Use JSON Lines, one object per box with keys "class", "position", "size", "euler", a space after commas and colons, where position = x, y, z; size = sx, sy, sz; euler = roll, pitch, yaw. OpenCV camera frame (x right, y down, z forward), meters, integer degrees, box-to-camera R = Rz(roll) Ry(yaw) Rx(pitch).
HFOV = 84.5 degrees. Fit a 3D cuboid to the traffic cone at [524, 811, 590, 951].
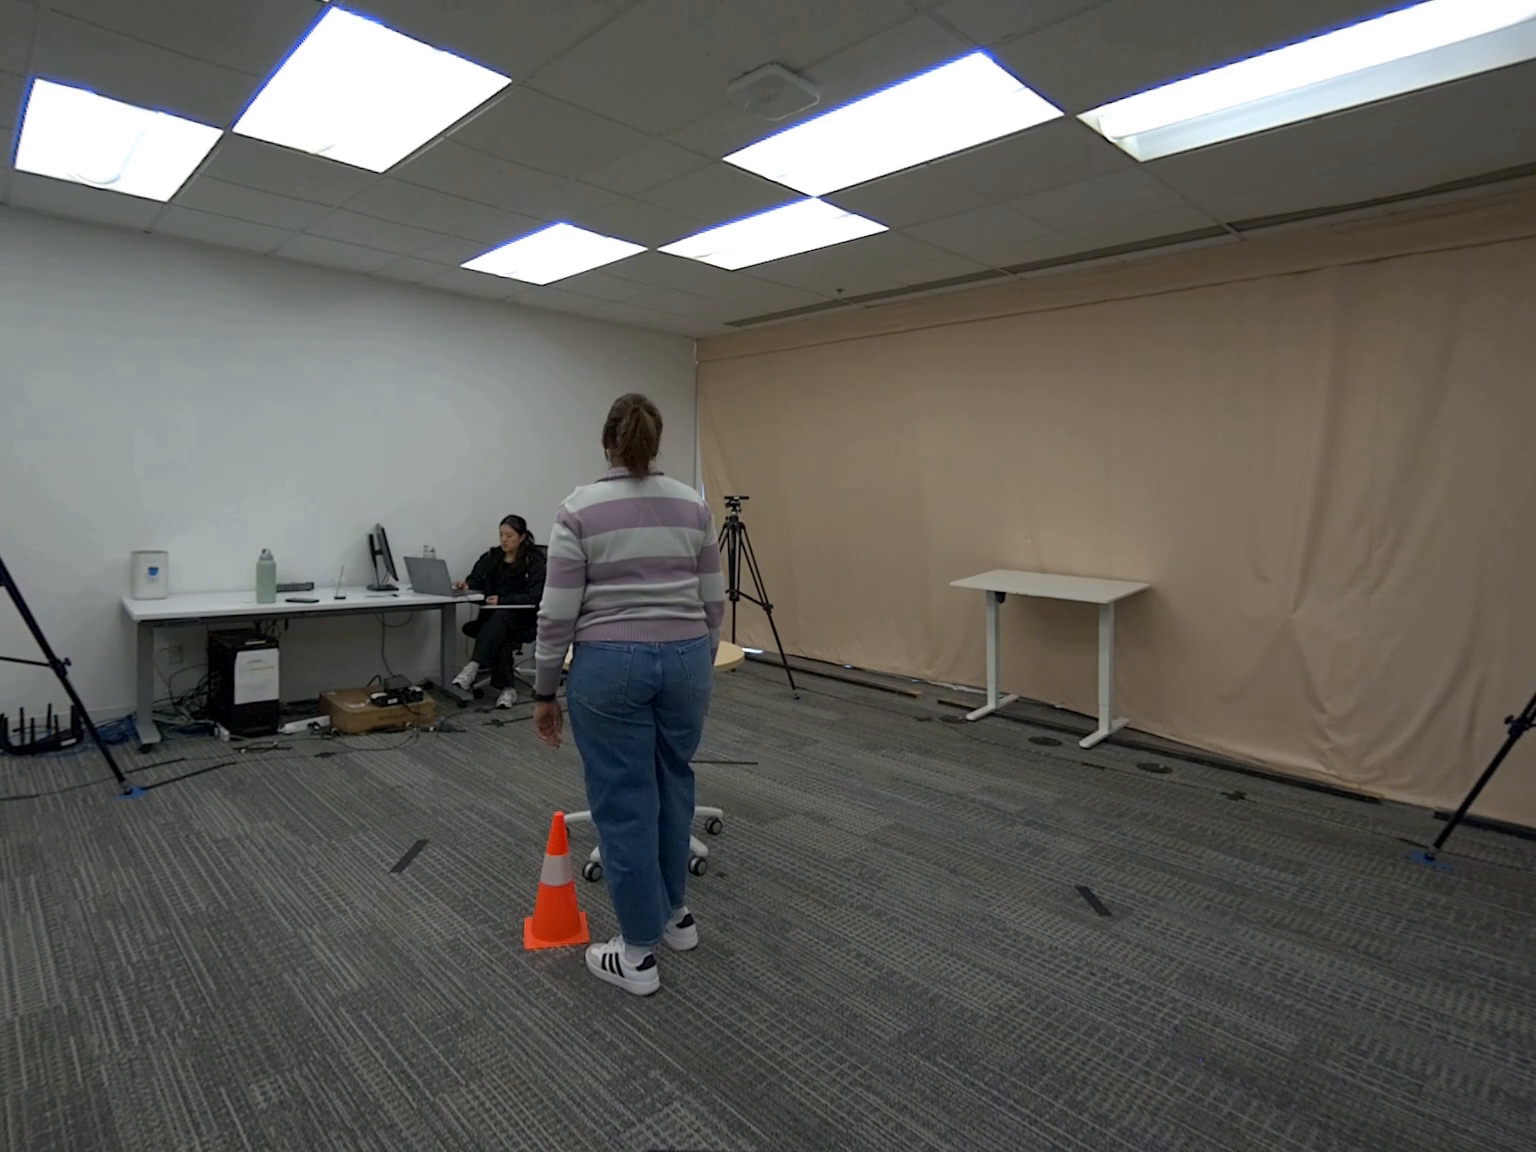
{"class": "traffic cone", "position": [-0.677, 0.951, 2.673], "size": [0.202, 0.383, 0.206], "euler": [1, 3, -16]}
